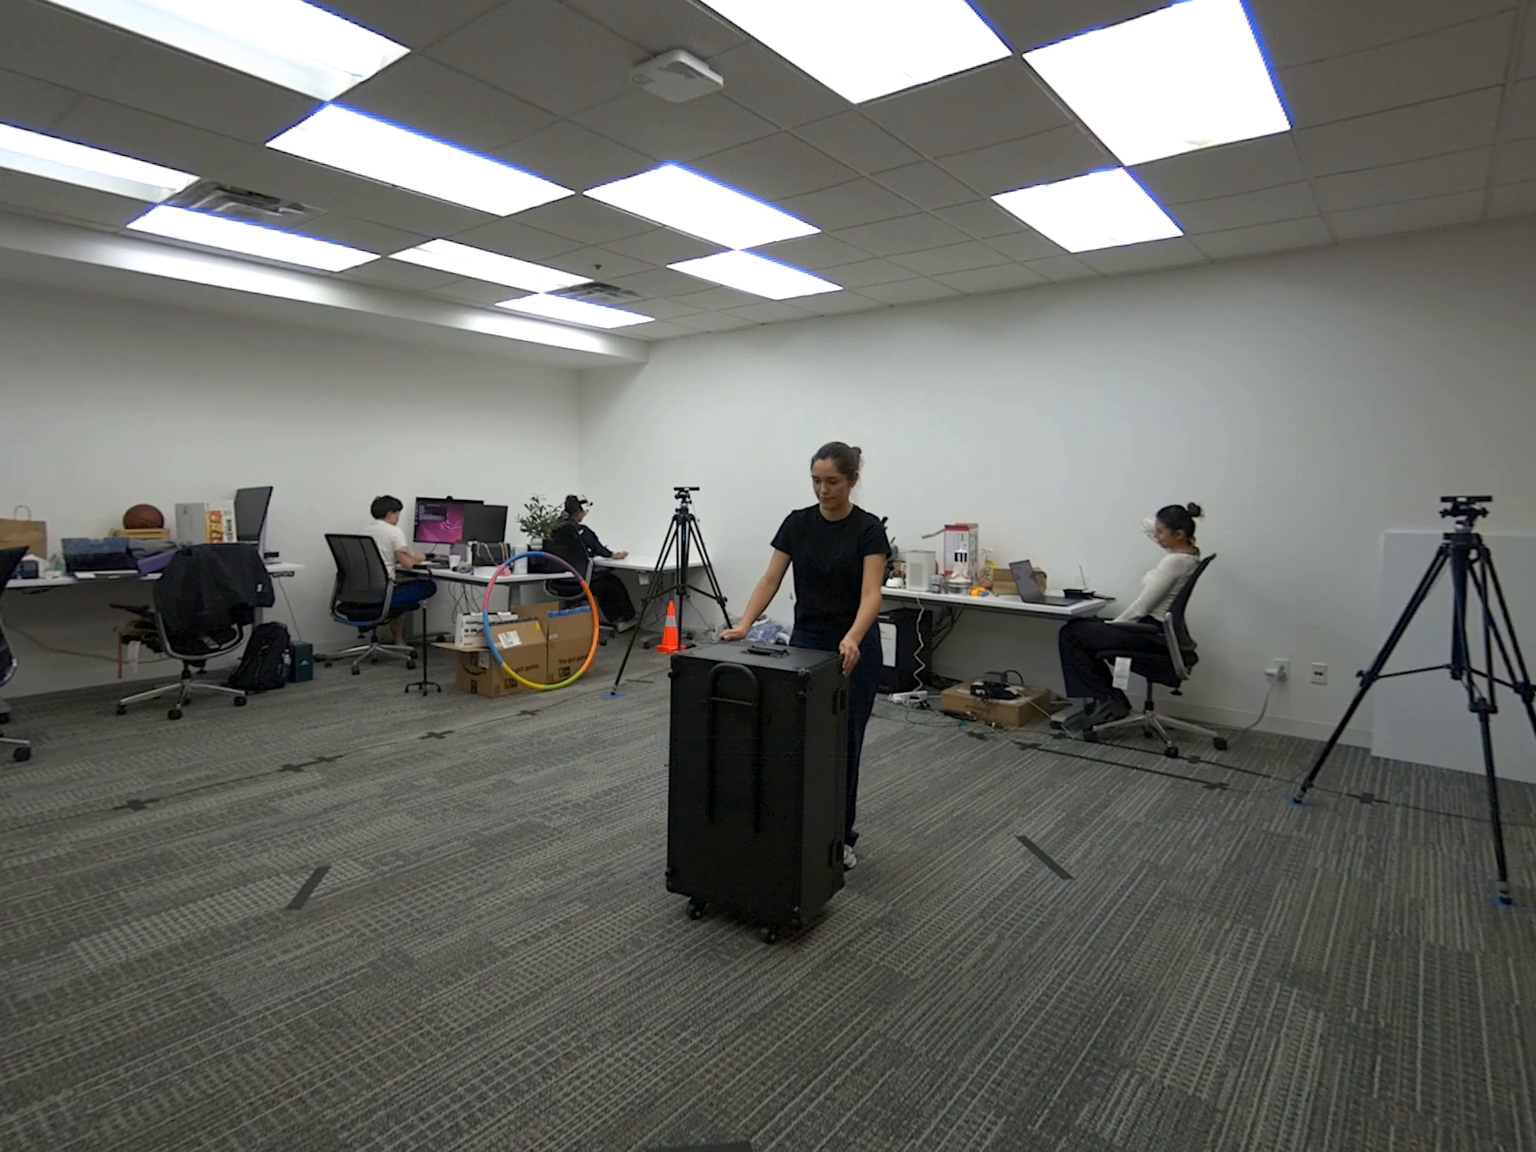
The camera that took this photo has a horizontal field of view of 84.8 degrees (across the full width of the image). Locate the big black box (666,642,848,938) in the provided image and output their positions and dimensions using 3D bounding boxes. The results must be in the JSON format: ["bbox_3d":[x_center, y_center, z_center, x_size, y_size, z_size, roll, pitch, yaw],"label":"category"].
[{"bbox_3d":[-0.026,0.674,2.783,0.537,0.859,0.386,3,4,30],"label":"big black box"}]
